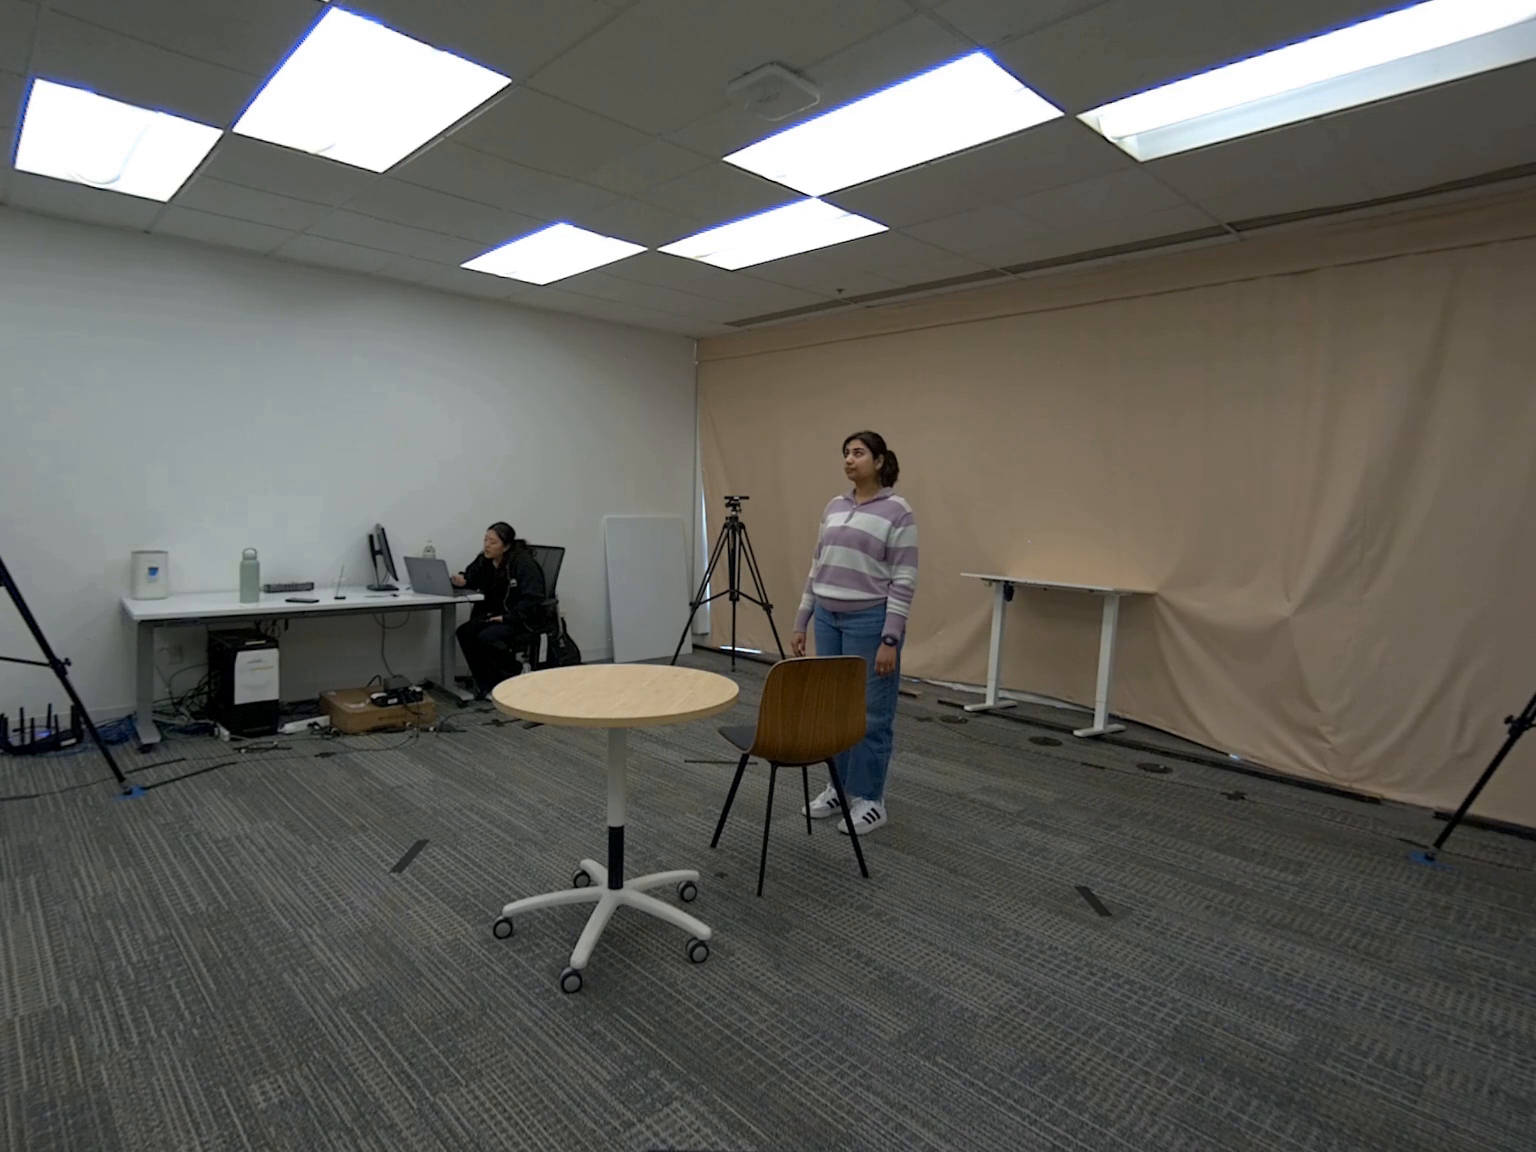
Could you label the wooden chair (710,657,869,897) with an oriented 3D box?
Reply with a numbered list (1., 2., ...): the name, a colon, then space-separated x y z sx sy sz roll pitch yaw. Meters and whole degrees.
1. wooden chair: 0.070 0.673 3.207 0.470 0.873 0.535 0 8 -24
